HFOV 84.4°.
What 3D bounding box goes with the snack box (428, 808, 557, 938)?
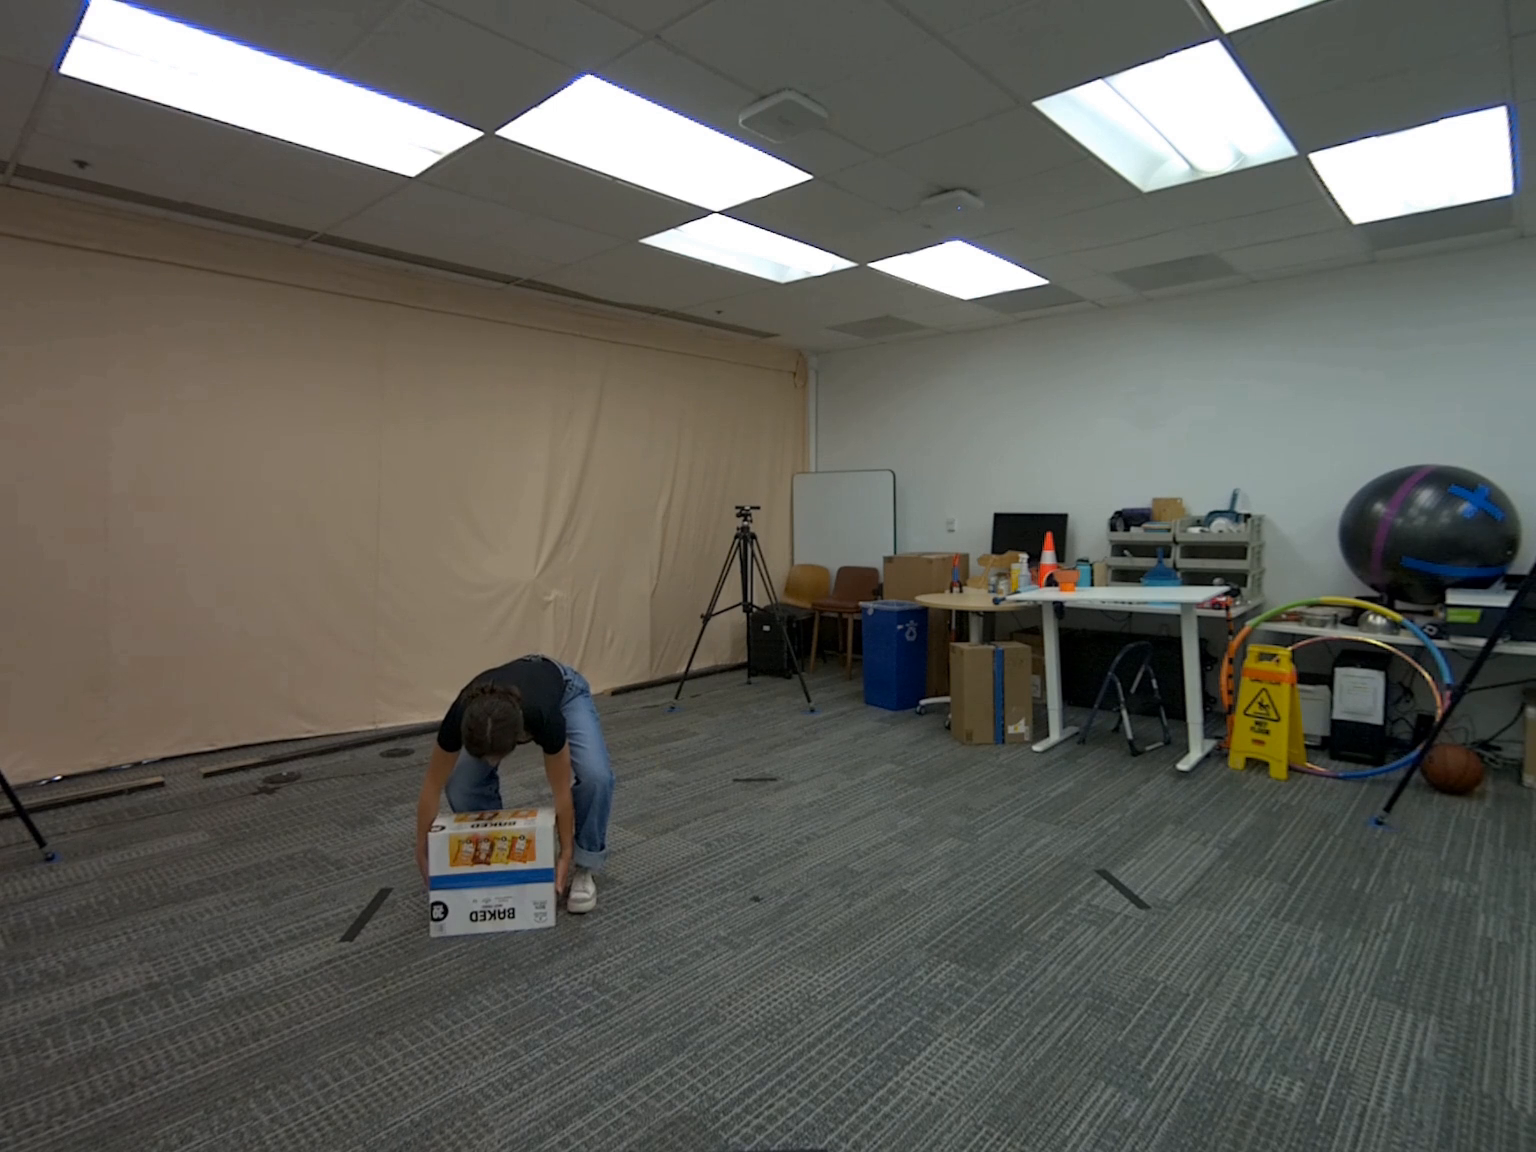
[{"bbox_3d":[-0.925,0.995,2.849,0.401,0.340,0.208,-1,1,-10],"label":"snack box"}]
